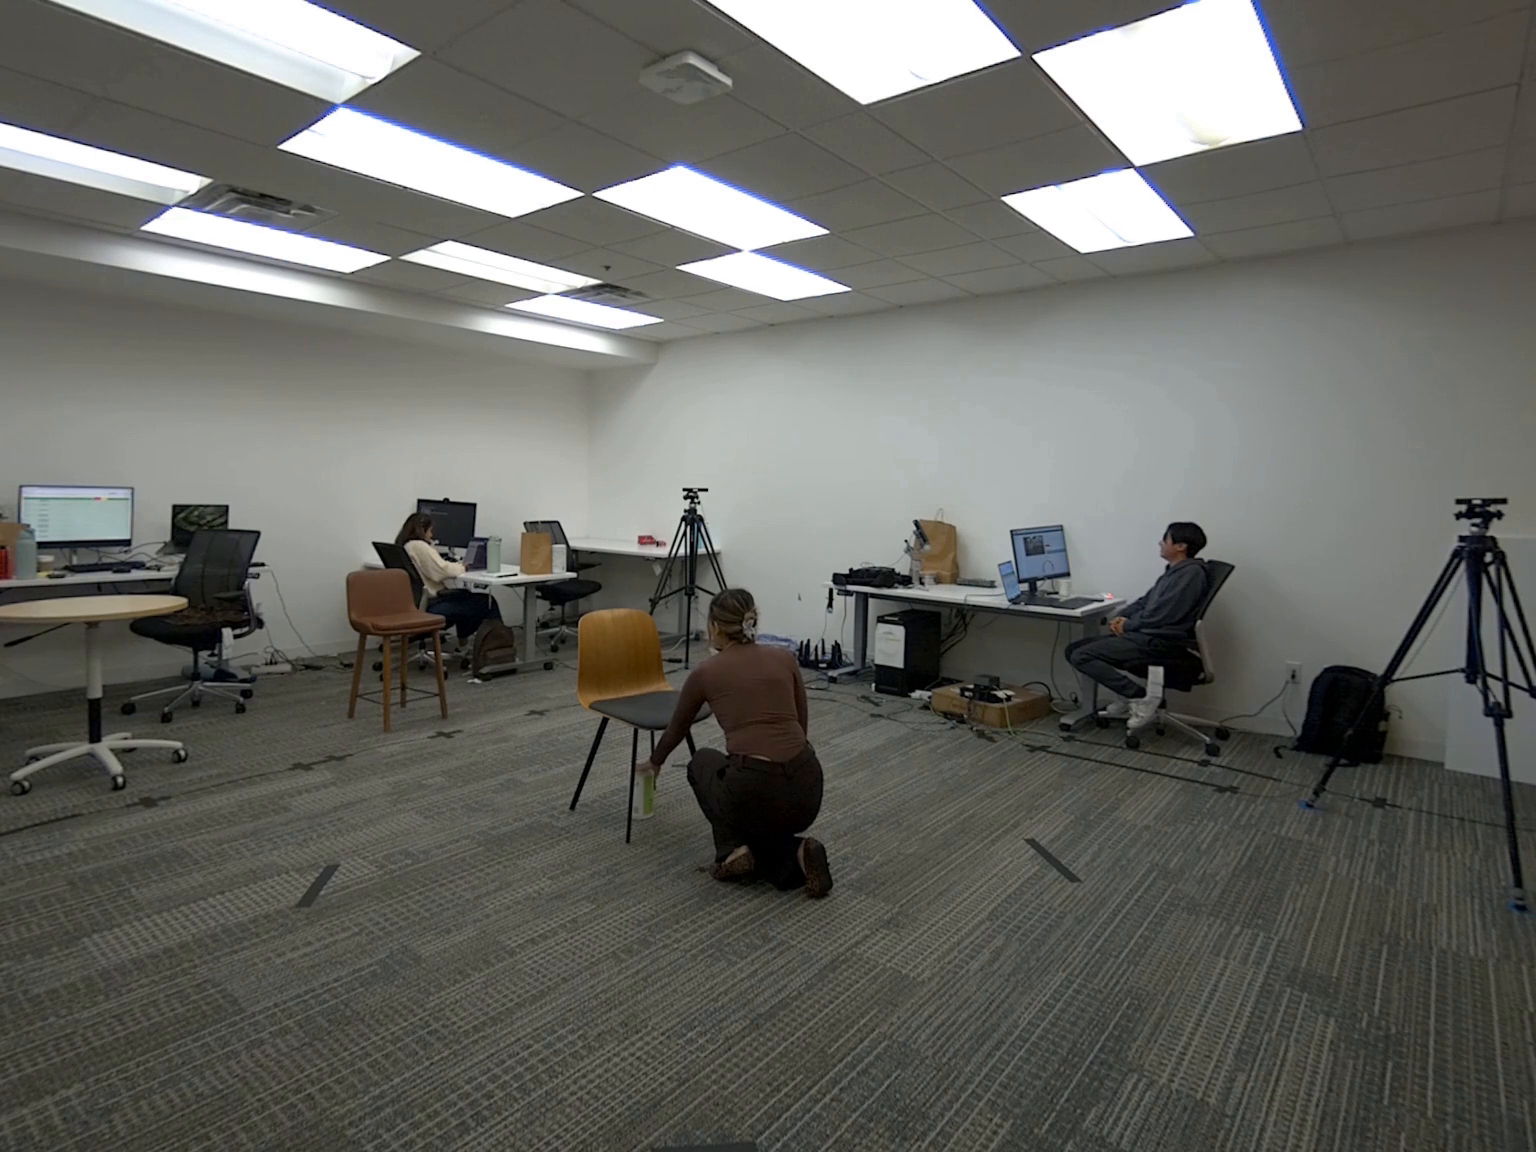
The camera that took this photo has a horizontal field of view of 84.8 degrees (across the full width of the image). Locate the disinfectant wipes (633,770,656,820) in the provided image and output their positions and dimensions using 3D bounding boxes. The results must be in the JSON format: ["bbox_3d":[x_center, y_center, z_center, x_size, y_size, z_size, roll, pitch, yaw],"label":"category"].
[{"bbox_3d":[-0.543,0.915,3.614,0.117,0.216,0.118,1,6,-2],"label":"disinfectant wipes"}]
